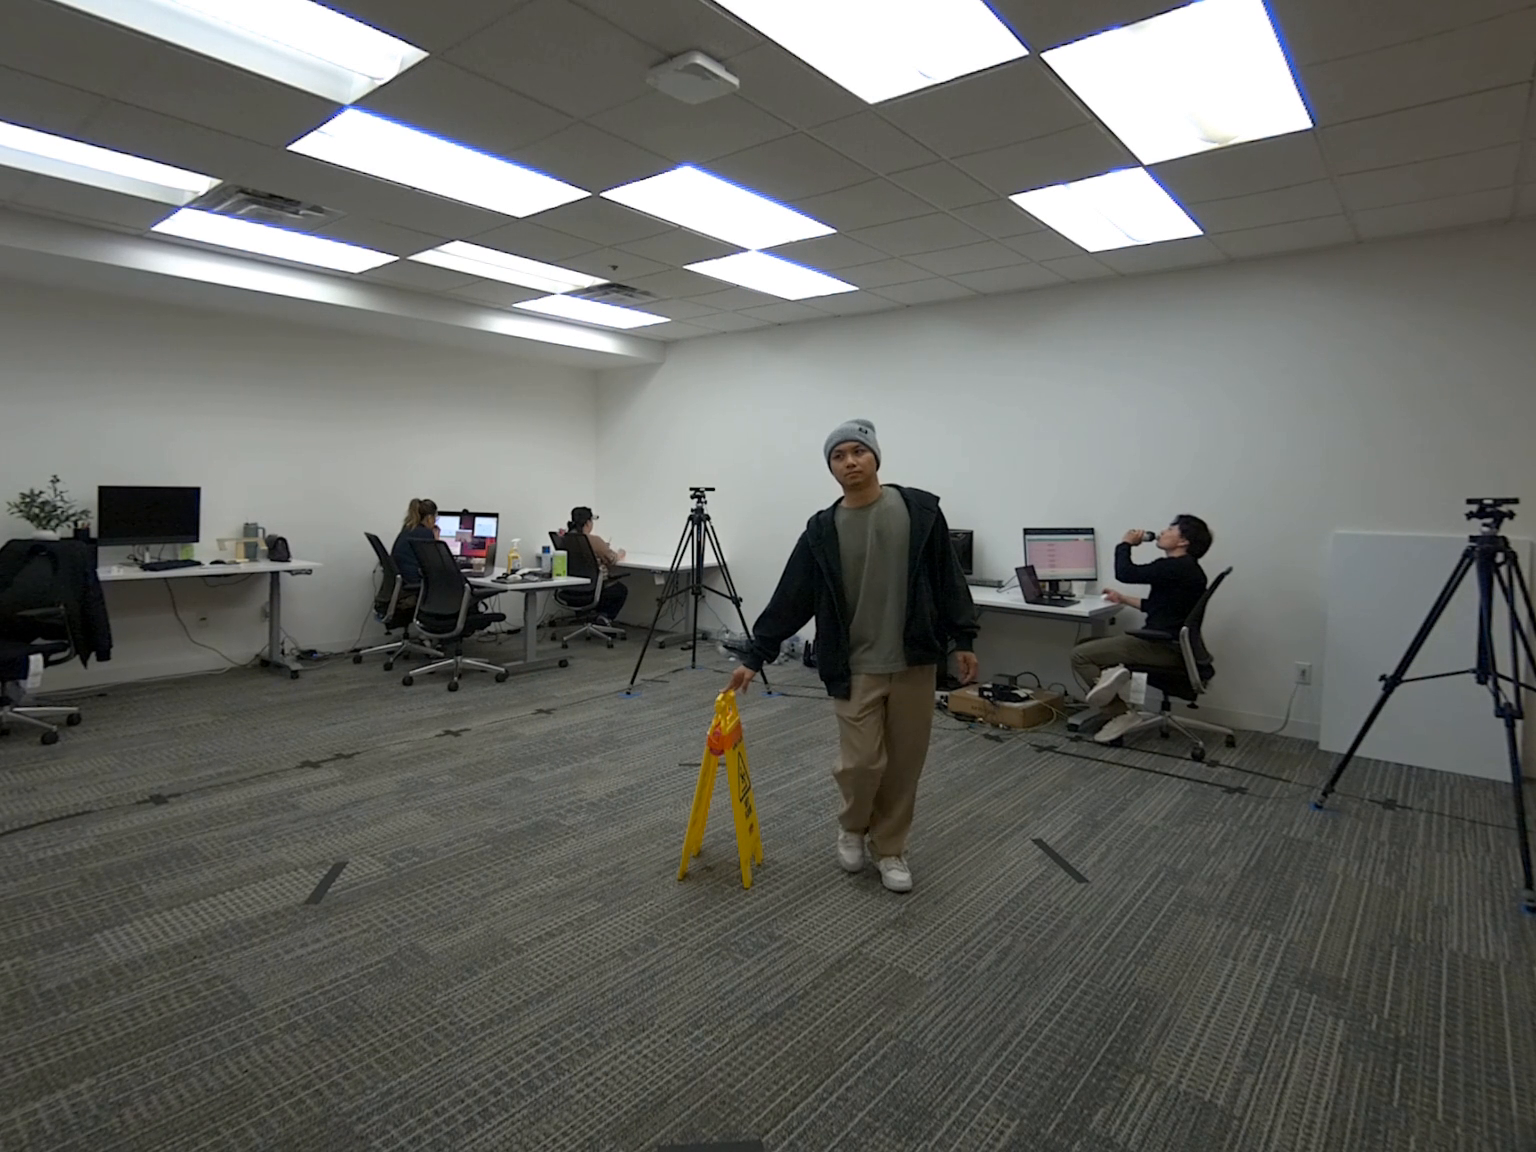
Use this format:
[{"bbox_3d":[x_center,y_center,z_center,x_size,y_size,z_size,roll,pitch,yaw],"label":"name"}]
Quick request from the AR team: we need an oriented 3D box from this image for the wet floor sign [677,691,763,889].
[{"bbox_3d":[-0.165,0.745,3.097,0.294,0.644,0.279,2,4,12],"label":"wet floor sign"}]
